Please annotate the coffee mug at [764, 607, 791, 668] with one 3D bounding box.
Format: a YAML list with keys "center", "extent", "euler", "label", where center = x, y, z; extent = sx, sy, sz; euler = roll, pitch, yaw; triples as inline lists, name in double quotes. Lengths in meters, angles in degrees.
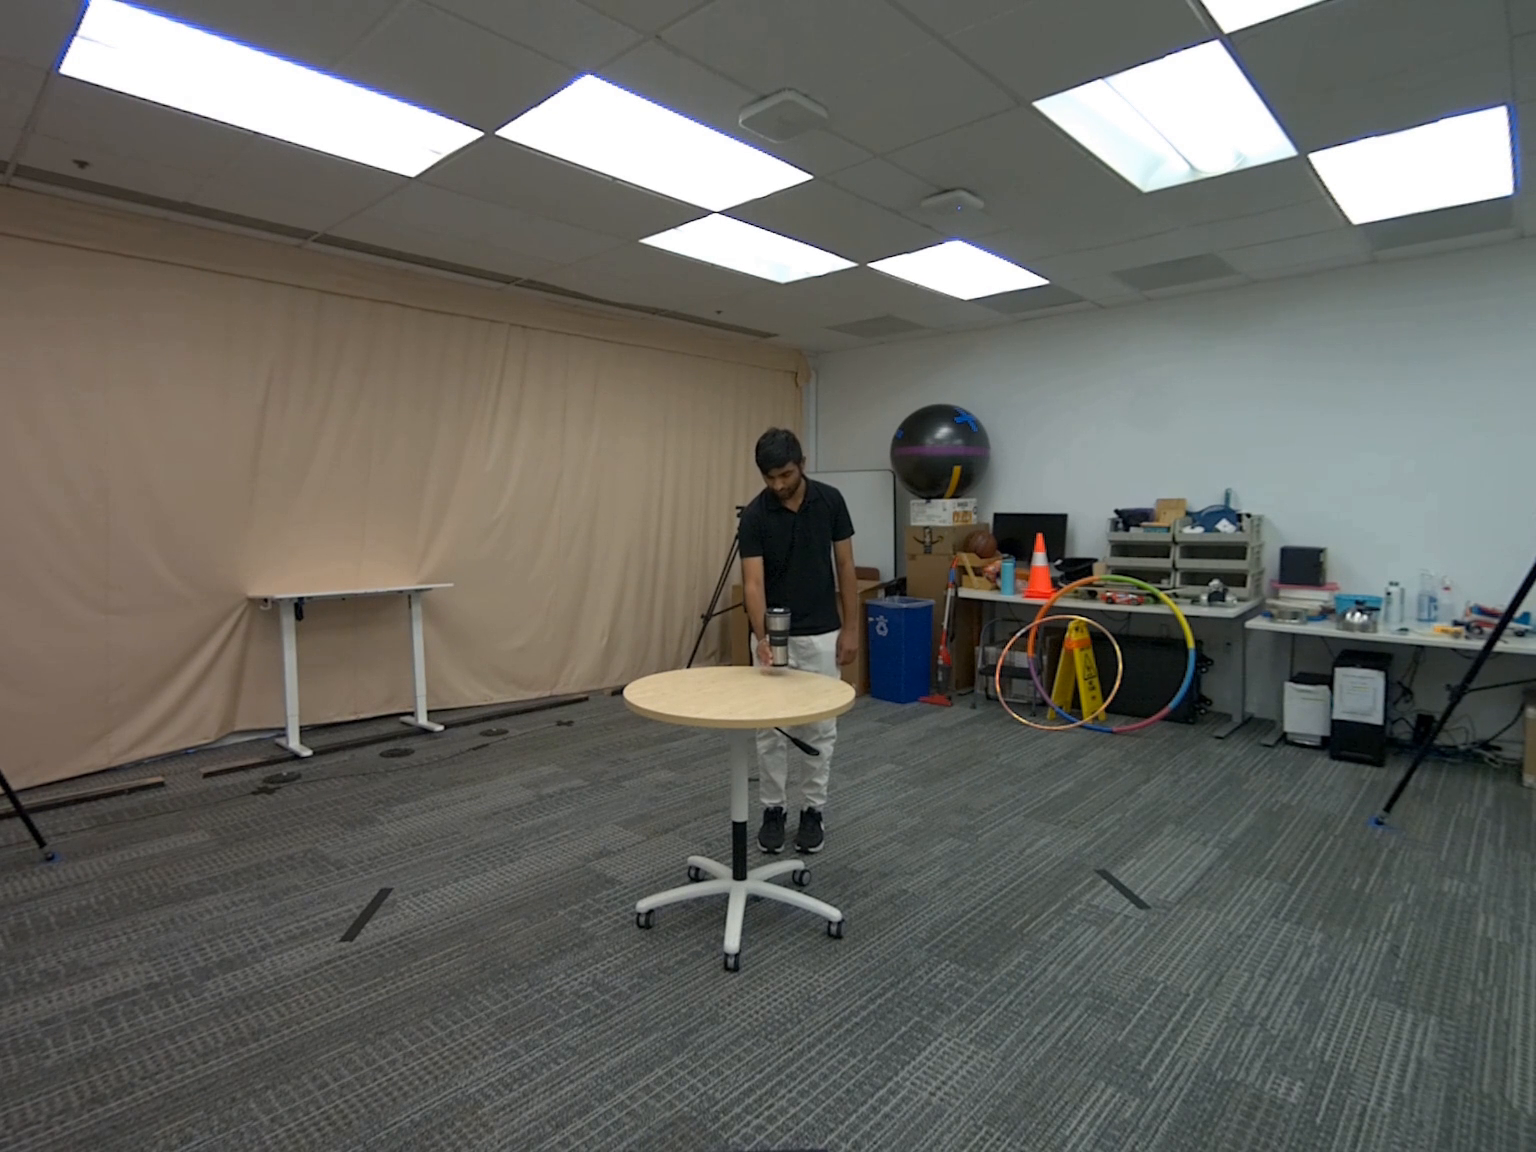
- center: [0.026, 0.211, 3.027]
  extent: [0.087, 0.202, 0.123]
  euler: [-5, 7, -7]
  label: "coffee mug"
